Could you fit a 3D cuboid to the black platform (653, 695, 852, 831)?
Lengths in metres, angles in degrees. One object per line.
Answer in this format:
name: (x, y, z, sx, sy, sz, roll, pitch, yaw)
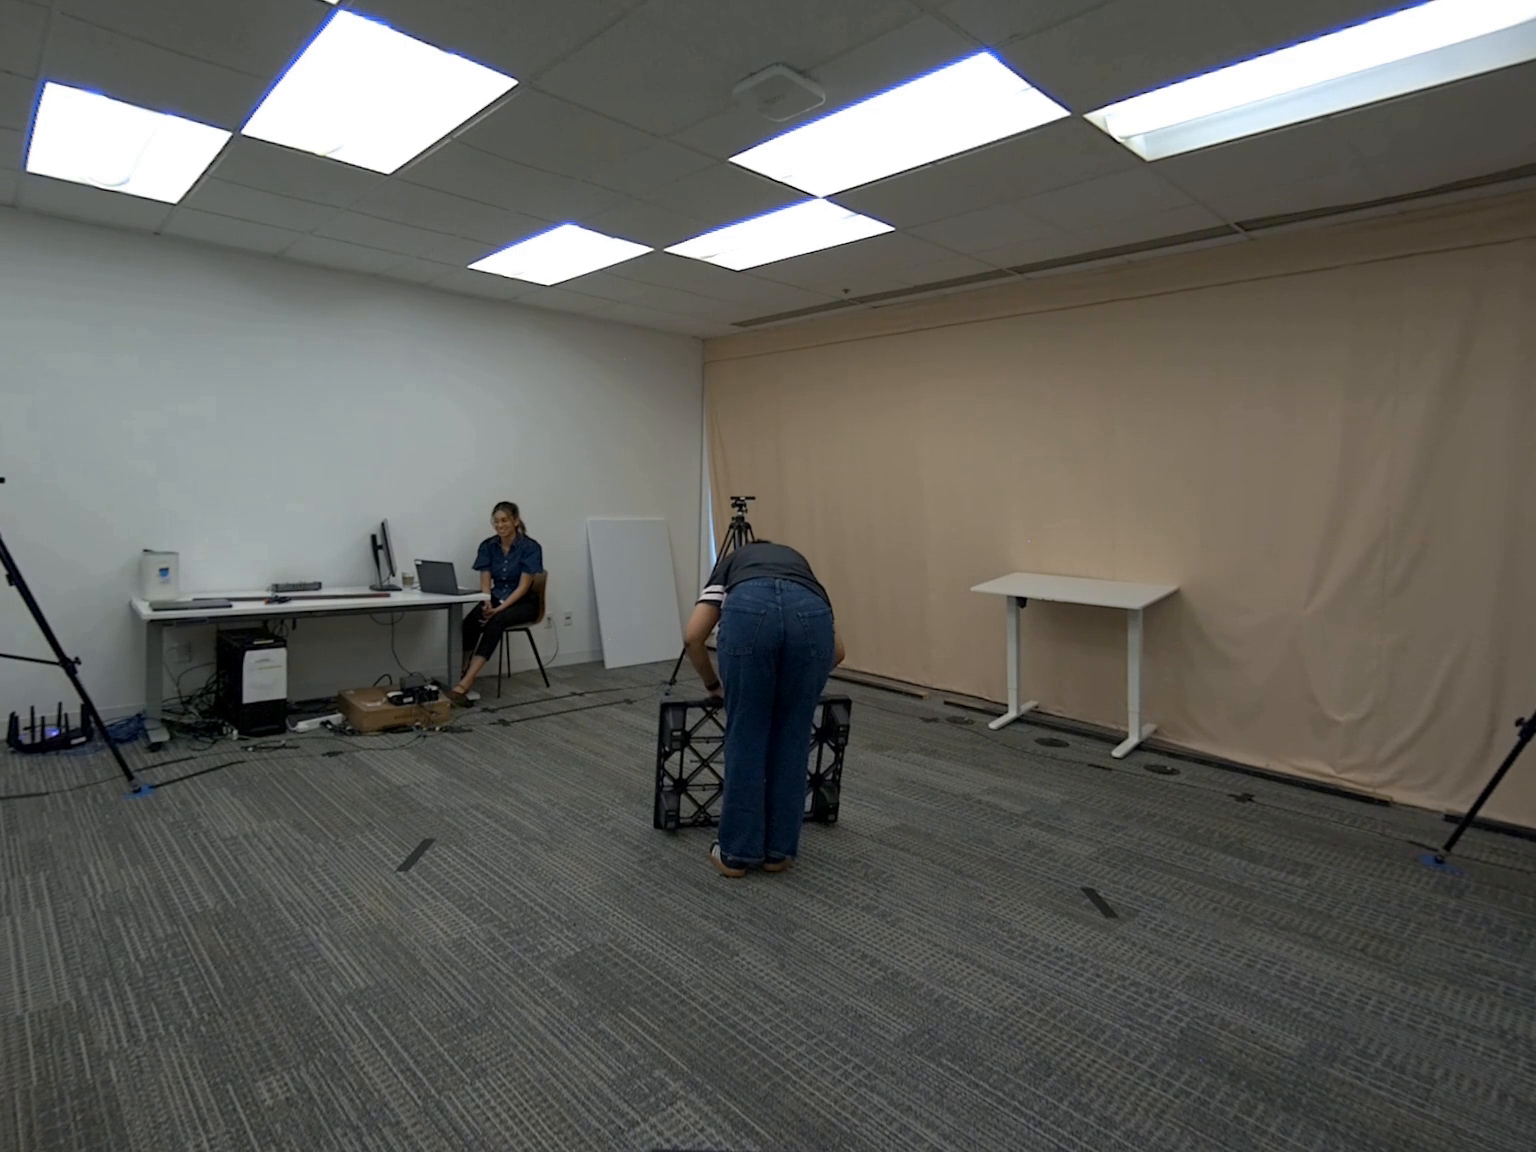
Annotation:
black platform: (-0.069, 0.797, 3.480, 0.798, 0.598, 0.146, 0, 18, -11)
